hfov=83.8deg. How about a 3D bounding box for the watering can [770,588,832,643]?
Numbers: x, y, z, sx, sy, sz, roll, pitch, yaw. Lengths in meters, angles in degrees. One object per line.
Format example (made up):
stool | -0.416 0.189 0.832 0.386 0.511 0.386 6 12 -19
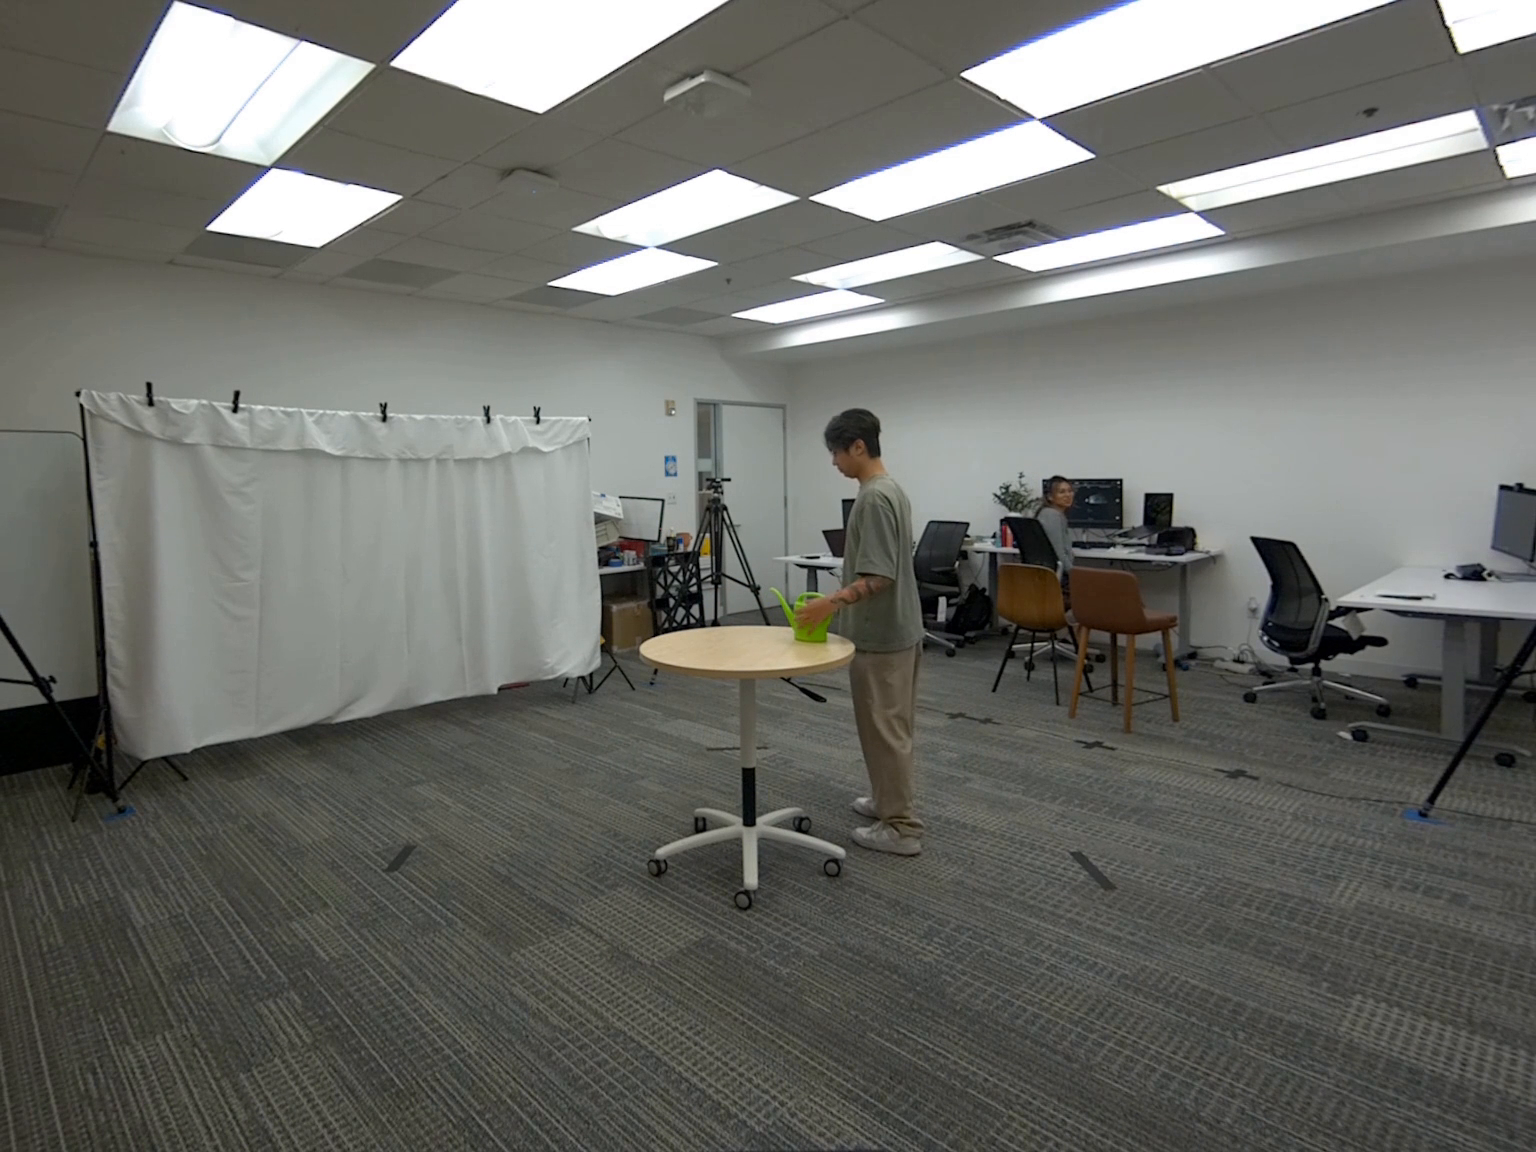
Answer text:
watering can | 0.134 0.144 3.173 0.095 0.176 0.287 -2 7 -37
